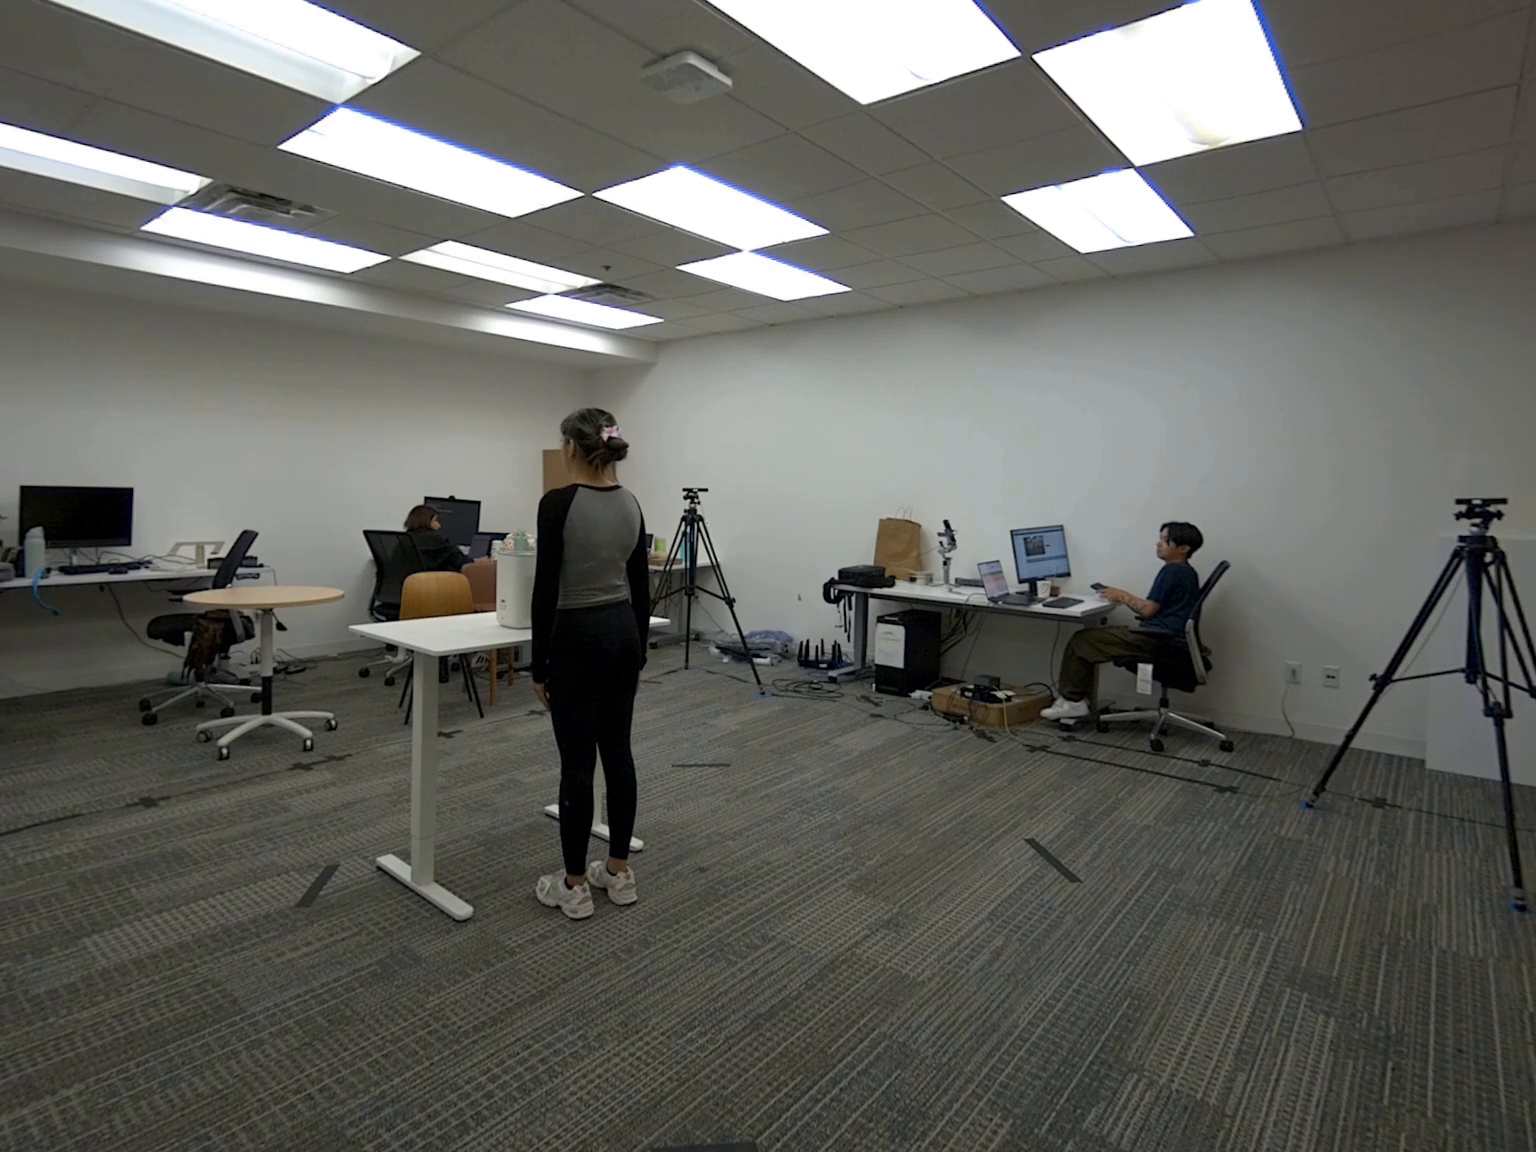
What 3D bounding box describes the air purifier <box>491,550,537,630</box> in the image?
[{"bbox_3d":[-0.887,0.043,3.080,0.177,0.265,0.166,6,4,43],"label":"air purifier"}]
